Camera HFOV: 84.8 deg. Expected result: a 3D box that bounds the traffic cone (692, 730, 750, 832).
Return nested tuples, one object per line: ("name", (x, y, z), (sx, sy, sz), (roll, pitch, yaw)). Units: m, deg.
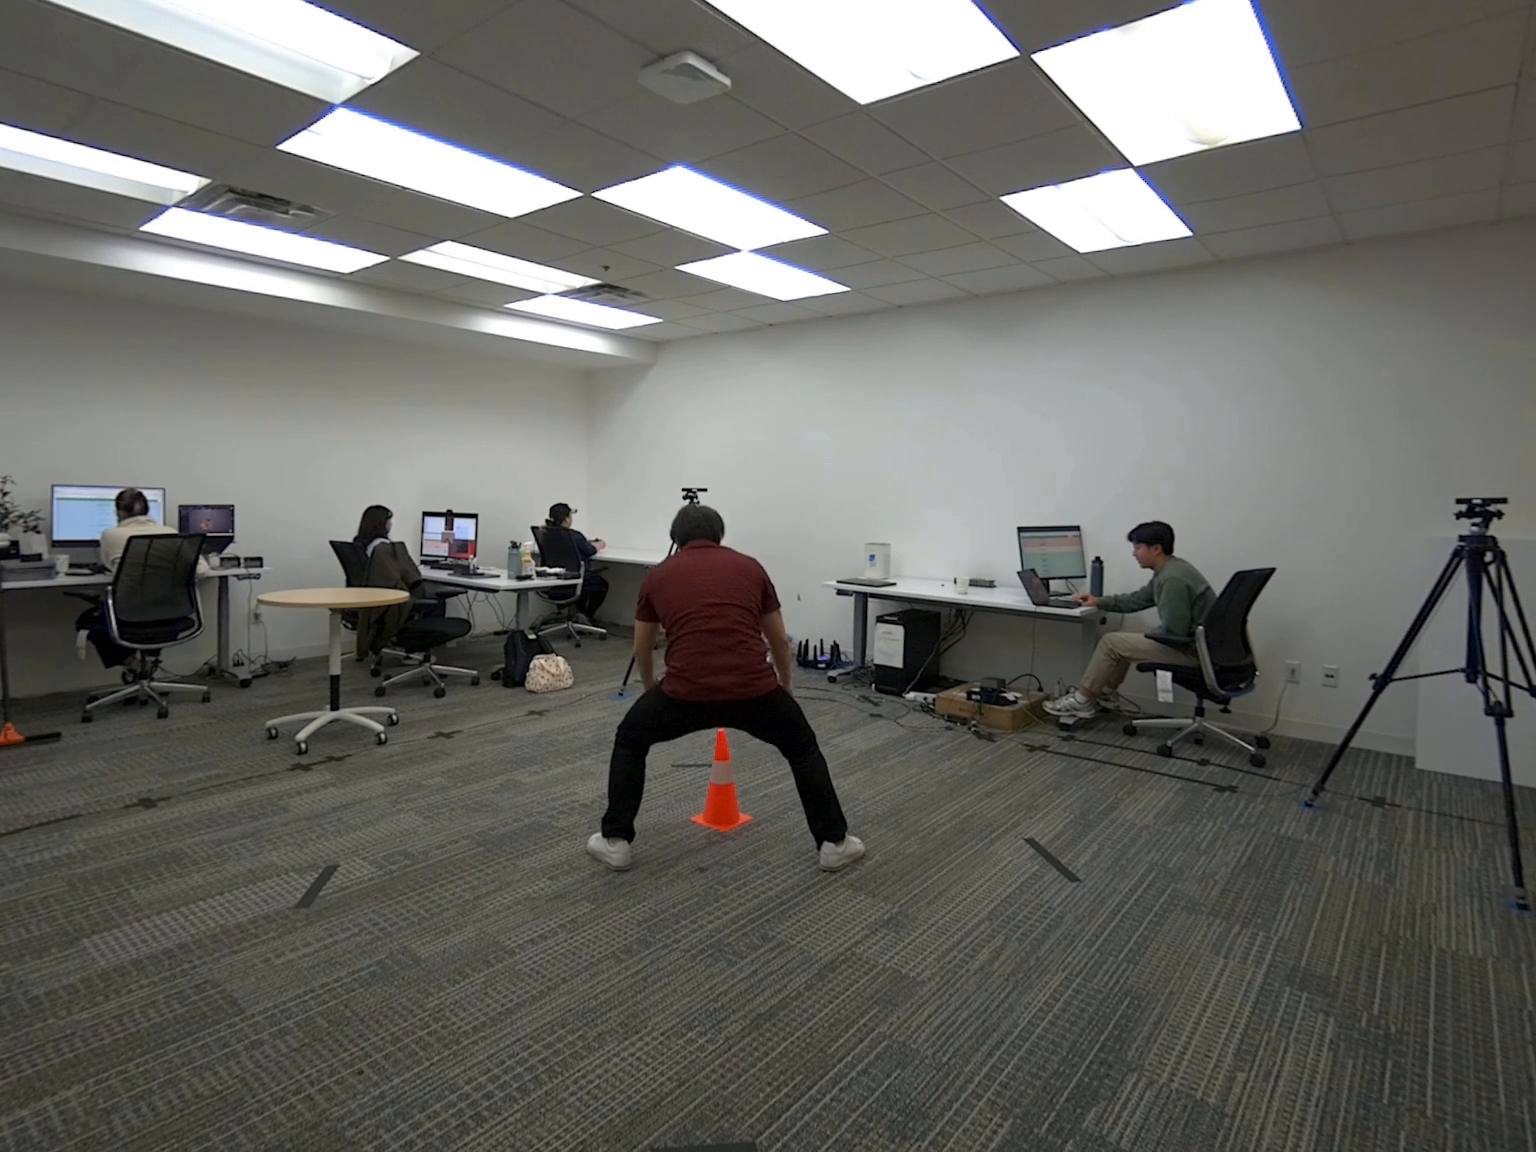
("traffic cone", (-0.204, 0.839, 3.589), (0.197, 0.383, 0.212), (-1, 3, -43))
